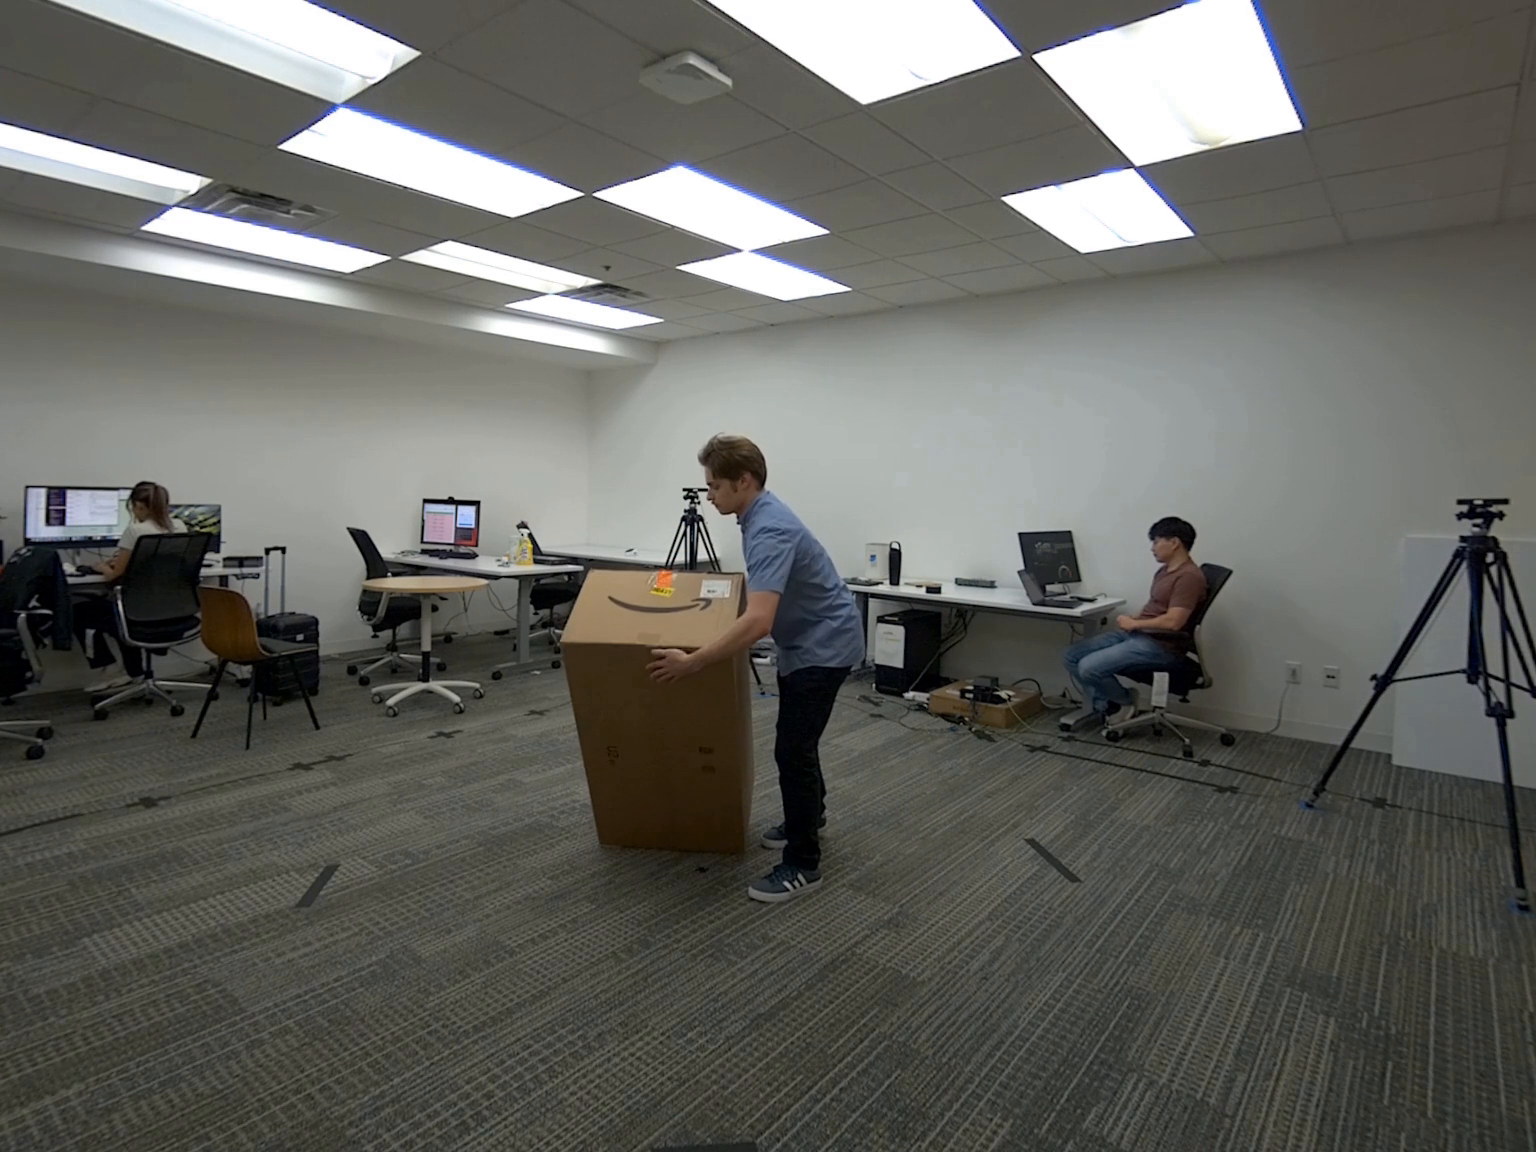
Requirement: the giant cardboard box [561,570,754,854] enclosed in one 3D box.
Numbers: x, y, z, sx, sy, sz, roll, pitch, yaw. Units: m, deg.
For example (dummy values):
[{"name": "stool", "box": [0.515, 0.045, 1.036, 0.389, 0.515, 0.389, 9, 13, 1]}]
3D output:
[{"name": "giant cardboard box", "box": [-0.387, 0.517, 3.178, 0.588, 0.999, 0.456, 2, 33, 6]}]
